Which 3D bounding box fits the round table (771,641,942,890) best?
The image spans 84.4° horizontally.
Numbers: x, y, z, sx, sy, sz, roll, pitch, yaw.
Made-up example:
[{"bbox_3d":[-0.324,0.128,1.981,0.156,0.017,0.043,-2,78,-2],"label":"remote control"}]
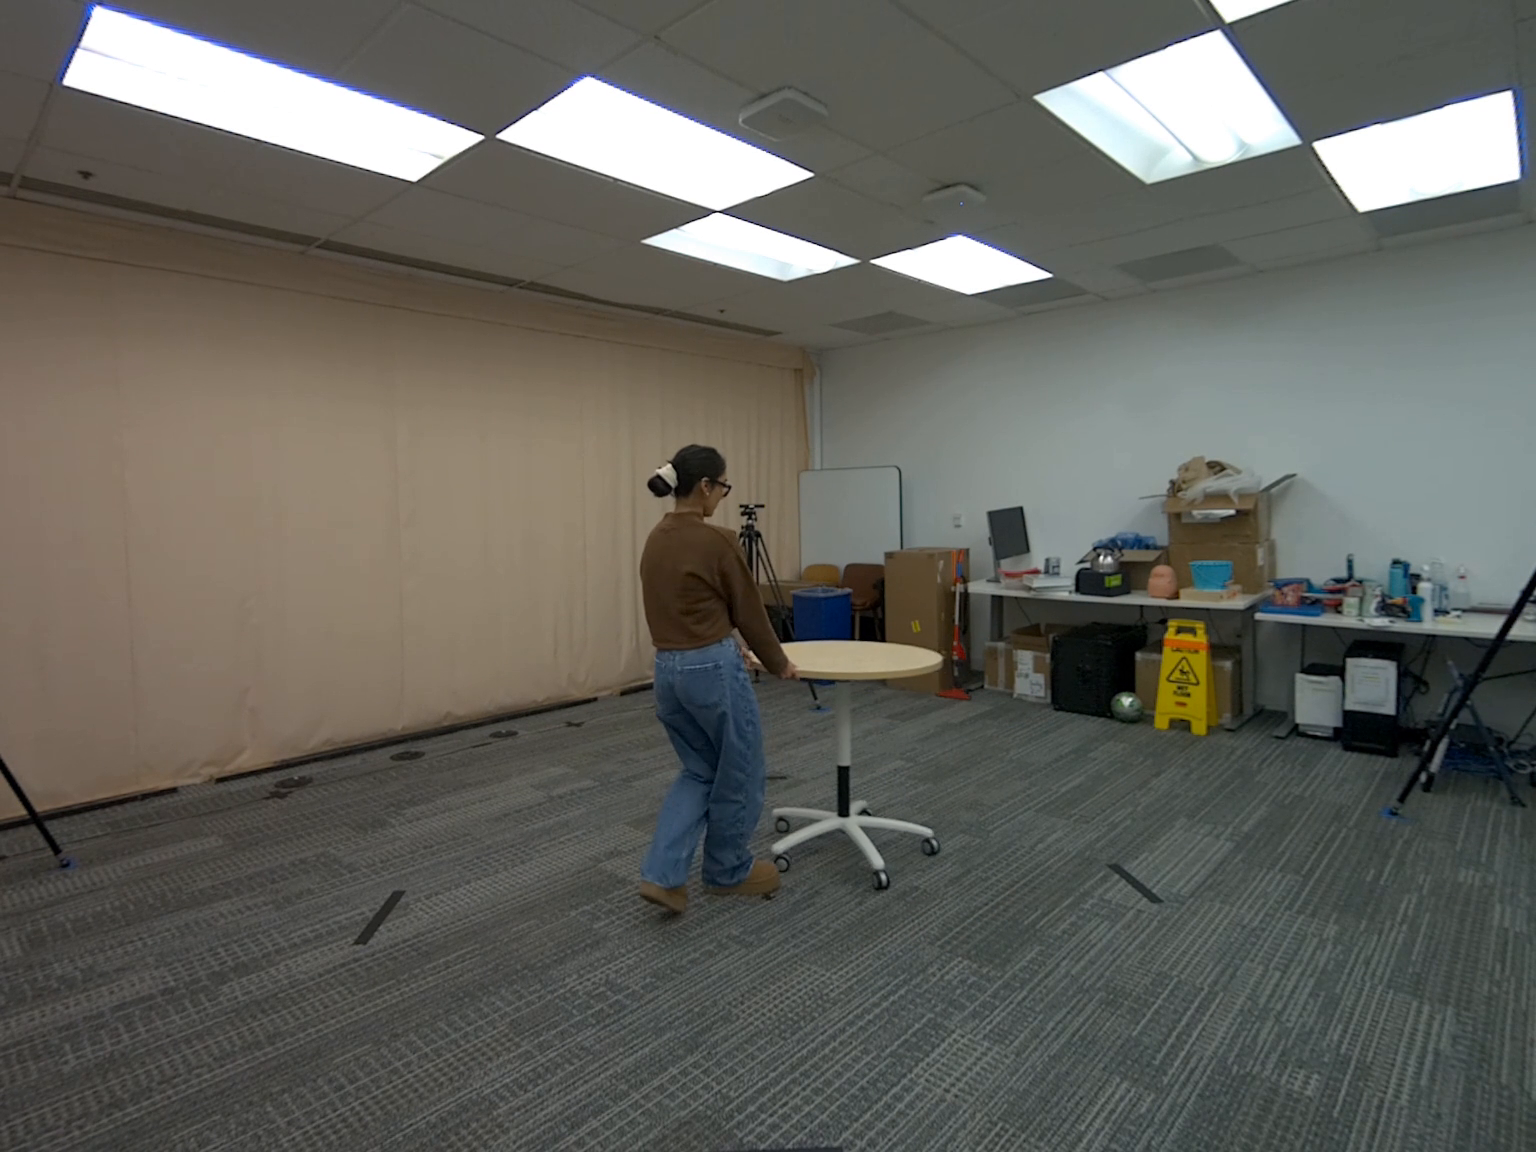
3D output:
[{"bbox_3d":[0.298,0.707,3.335,0.784,0.785,0.787,-1,2,-2],"label":"round table"}]
